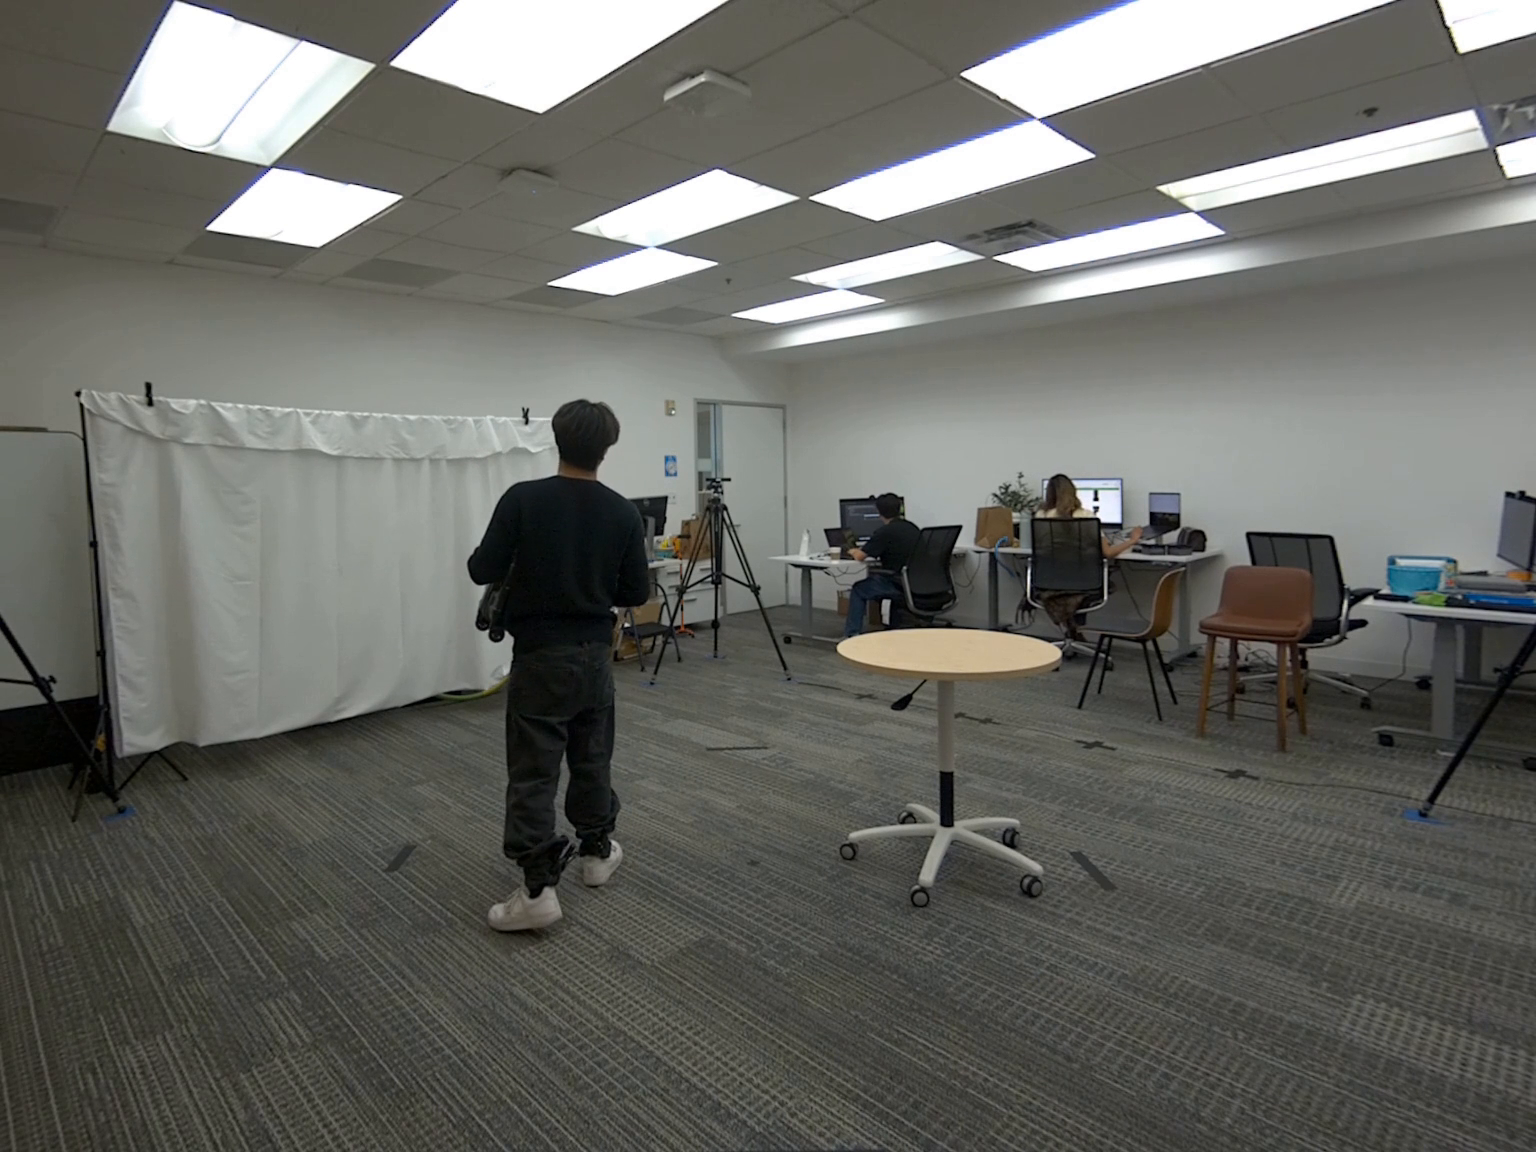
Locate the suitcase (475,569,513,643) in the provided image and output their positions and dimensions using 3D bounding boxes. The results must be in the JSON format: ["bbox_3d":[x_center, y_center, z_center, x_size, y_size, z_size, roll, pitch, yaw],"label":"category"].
[{"bbox_3d":[-0.796,-0.009,3.108,0.364,0.551,0.255,21,-7,-30],"label":"suitcase"}]
